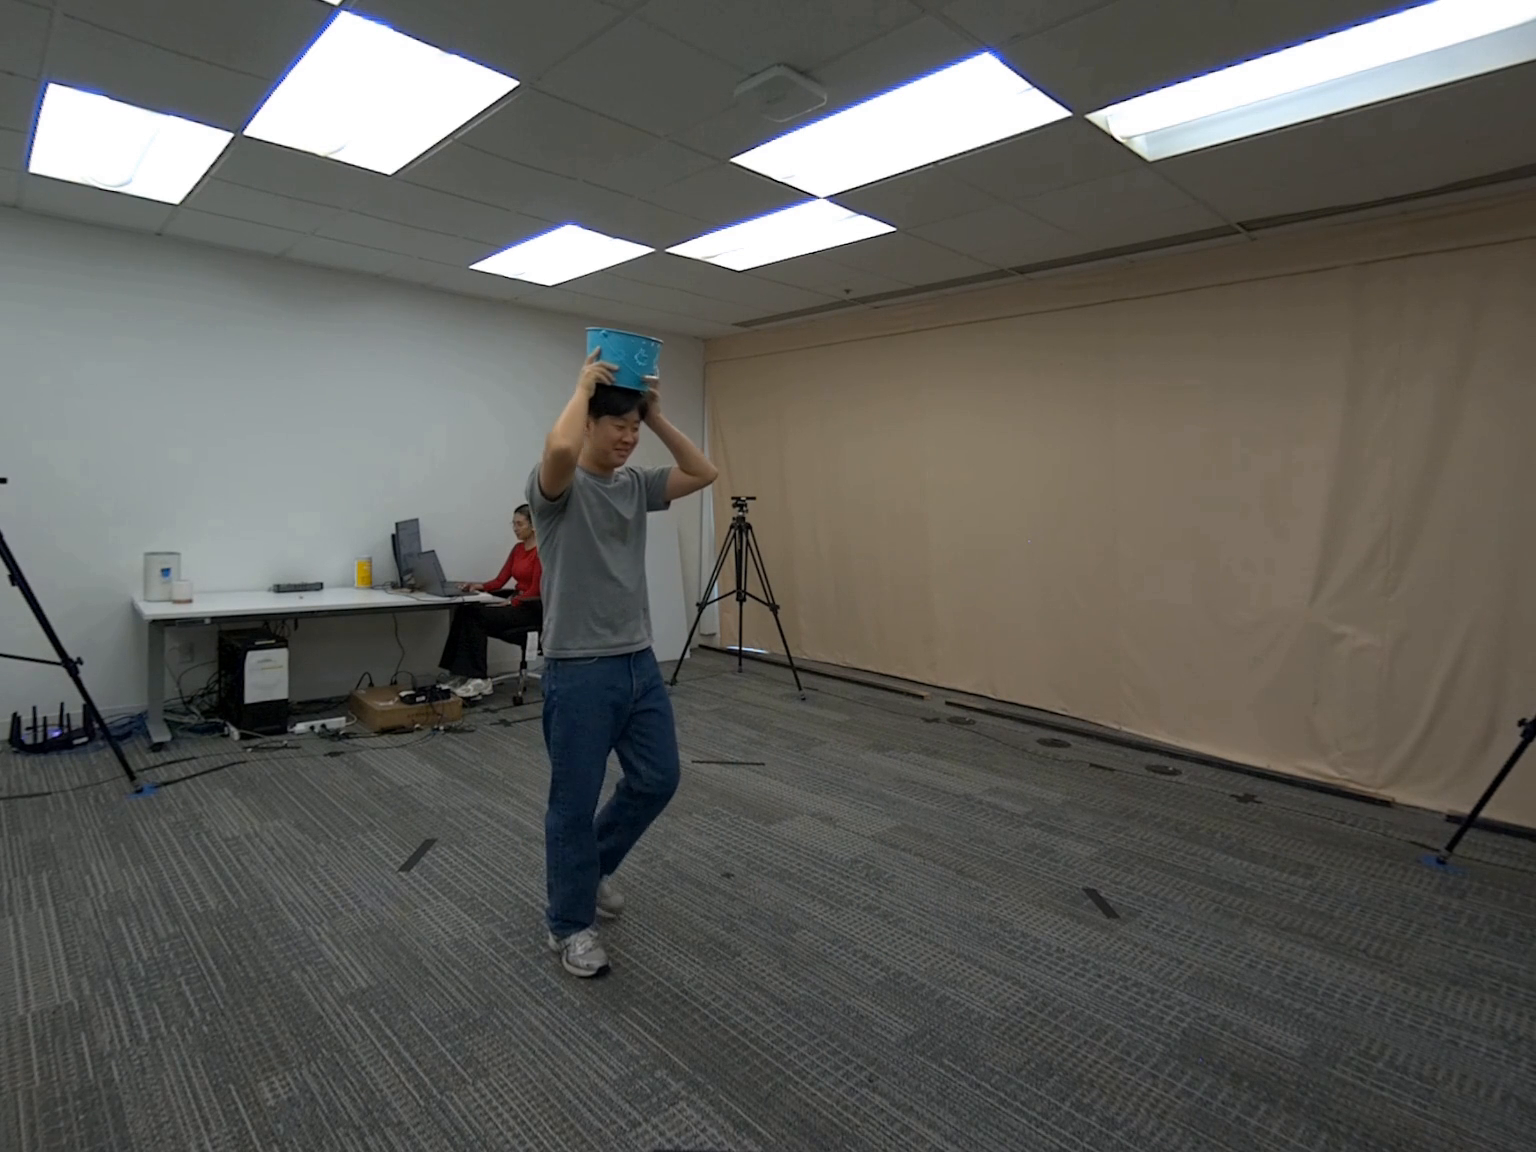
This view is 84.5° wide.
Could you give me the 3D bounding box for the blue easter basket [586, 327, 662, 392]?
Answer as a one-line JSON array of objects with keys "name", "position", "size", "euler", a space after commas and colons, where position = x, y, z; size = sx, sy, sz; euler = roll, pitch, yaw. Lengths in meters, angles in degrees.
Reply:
[{"name": "blue easter basket", "position": [-0.441, -0.631, 2.493], "size": [0.243, 0.155, 0.245], "euler": [8, 9, -3]}]
